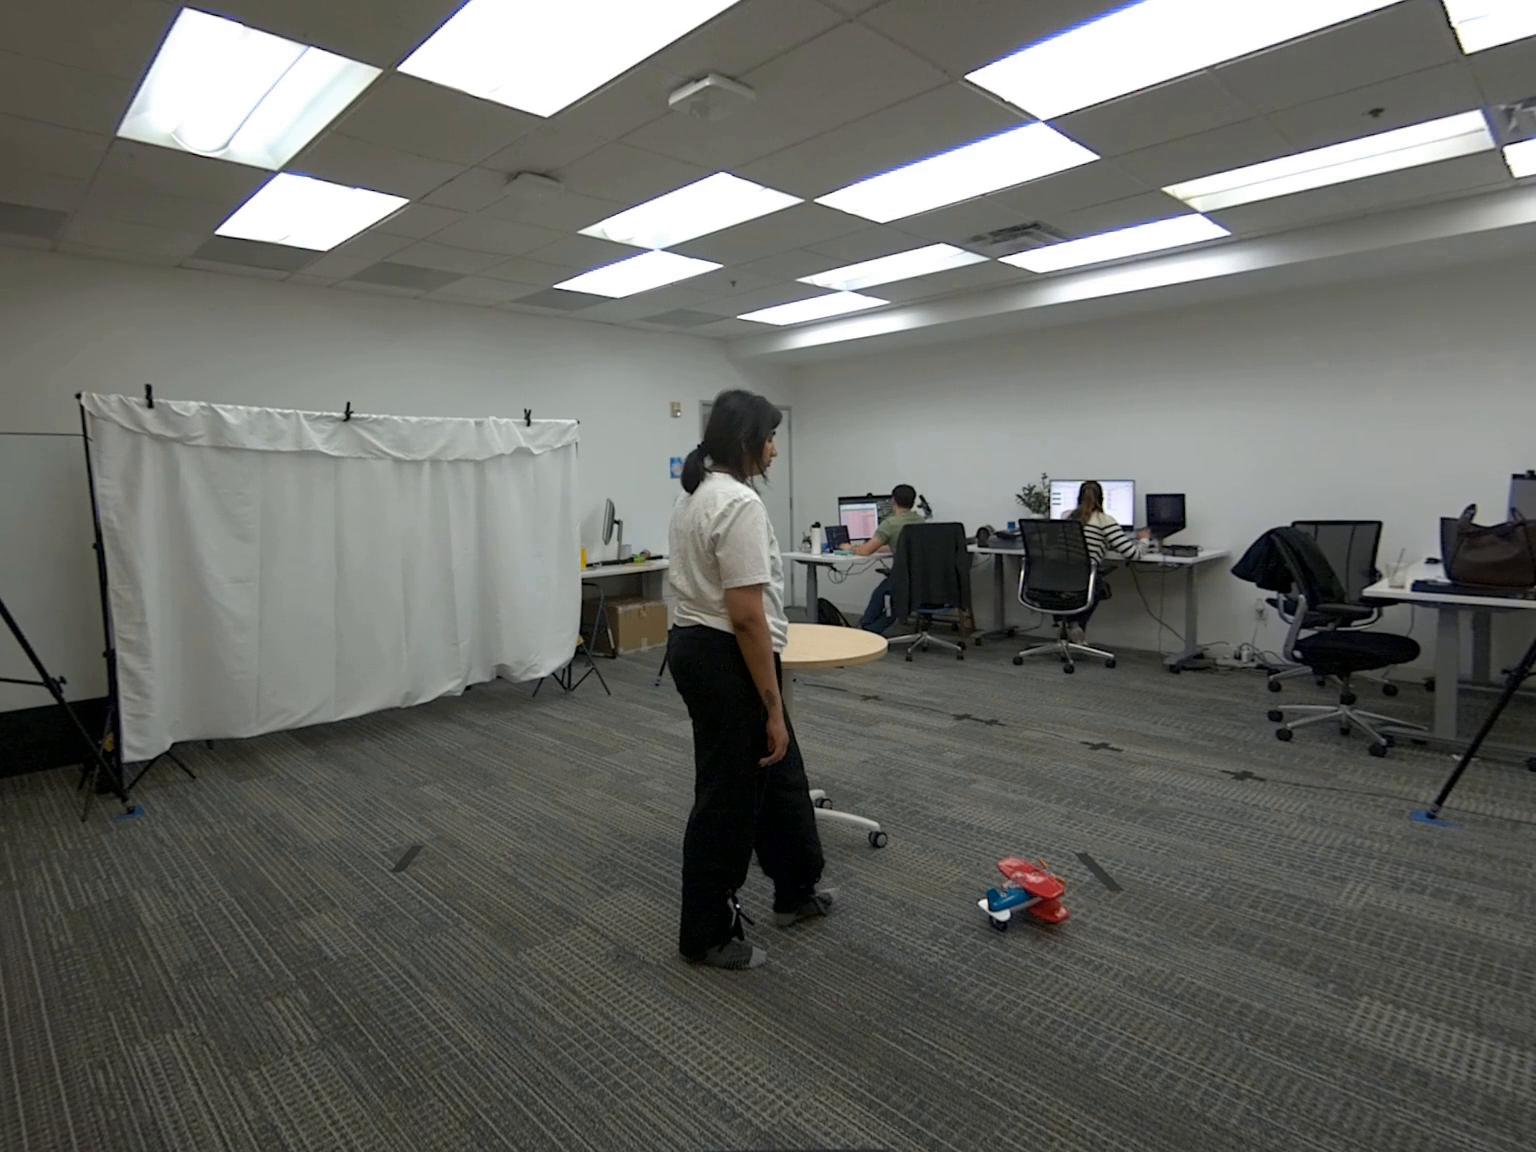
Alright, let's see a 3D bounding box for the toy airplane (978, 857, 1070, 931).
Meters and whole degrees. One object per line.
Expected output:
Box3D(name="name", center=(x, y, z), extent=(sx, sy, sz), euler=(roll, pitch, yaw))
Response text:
Box3D(name="toy airplane", center=(0.817, 1.011, 2.652), extent=(0.259, 0.156, 0.252), euler=(4, 7, 40))
